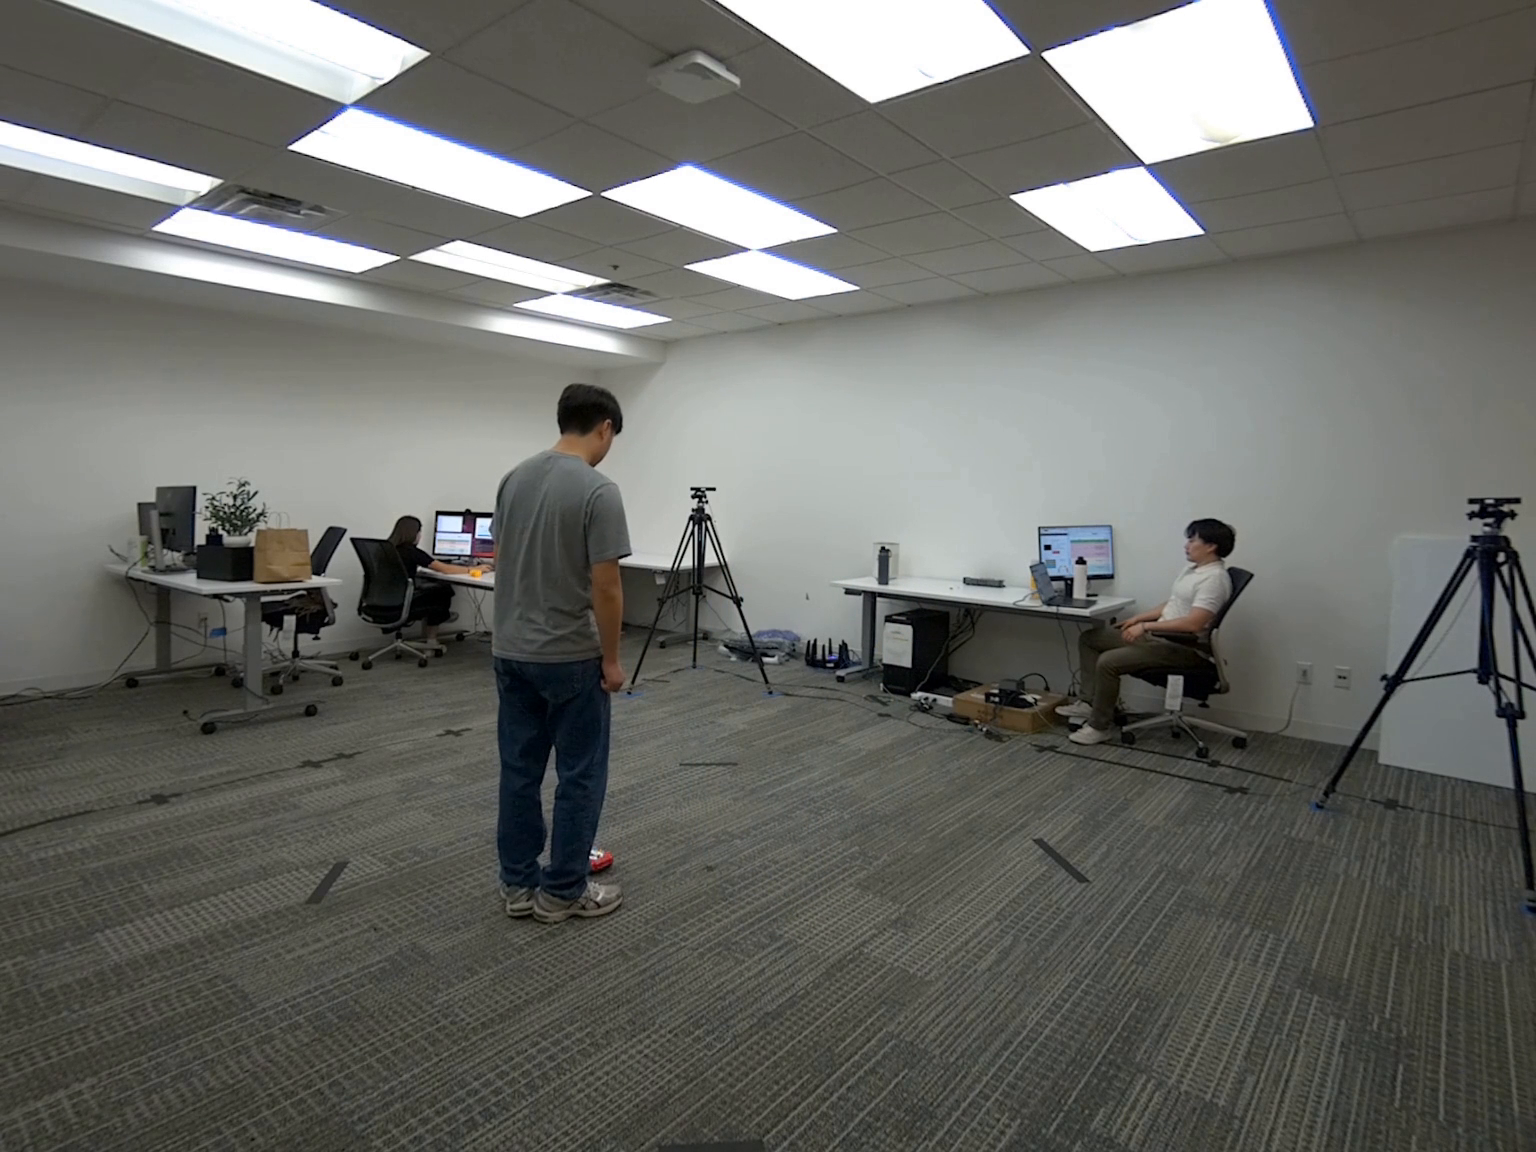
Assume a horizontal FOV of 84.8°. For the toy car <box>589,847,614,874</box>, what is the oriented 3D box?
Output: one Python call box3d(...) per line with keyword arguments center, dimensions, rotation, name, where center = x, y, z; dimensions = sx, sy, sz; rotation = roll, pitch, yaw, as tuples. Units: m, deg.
box3d(center=(-0.700, 1.019, 3.133), dimensions=(0.264, 0.082, 0.126), rotation=(18, 14, 37), name="toy car")
